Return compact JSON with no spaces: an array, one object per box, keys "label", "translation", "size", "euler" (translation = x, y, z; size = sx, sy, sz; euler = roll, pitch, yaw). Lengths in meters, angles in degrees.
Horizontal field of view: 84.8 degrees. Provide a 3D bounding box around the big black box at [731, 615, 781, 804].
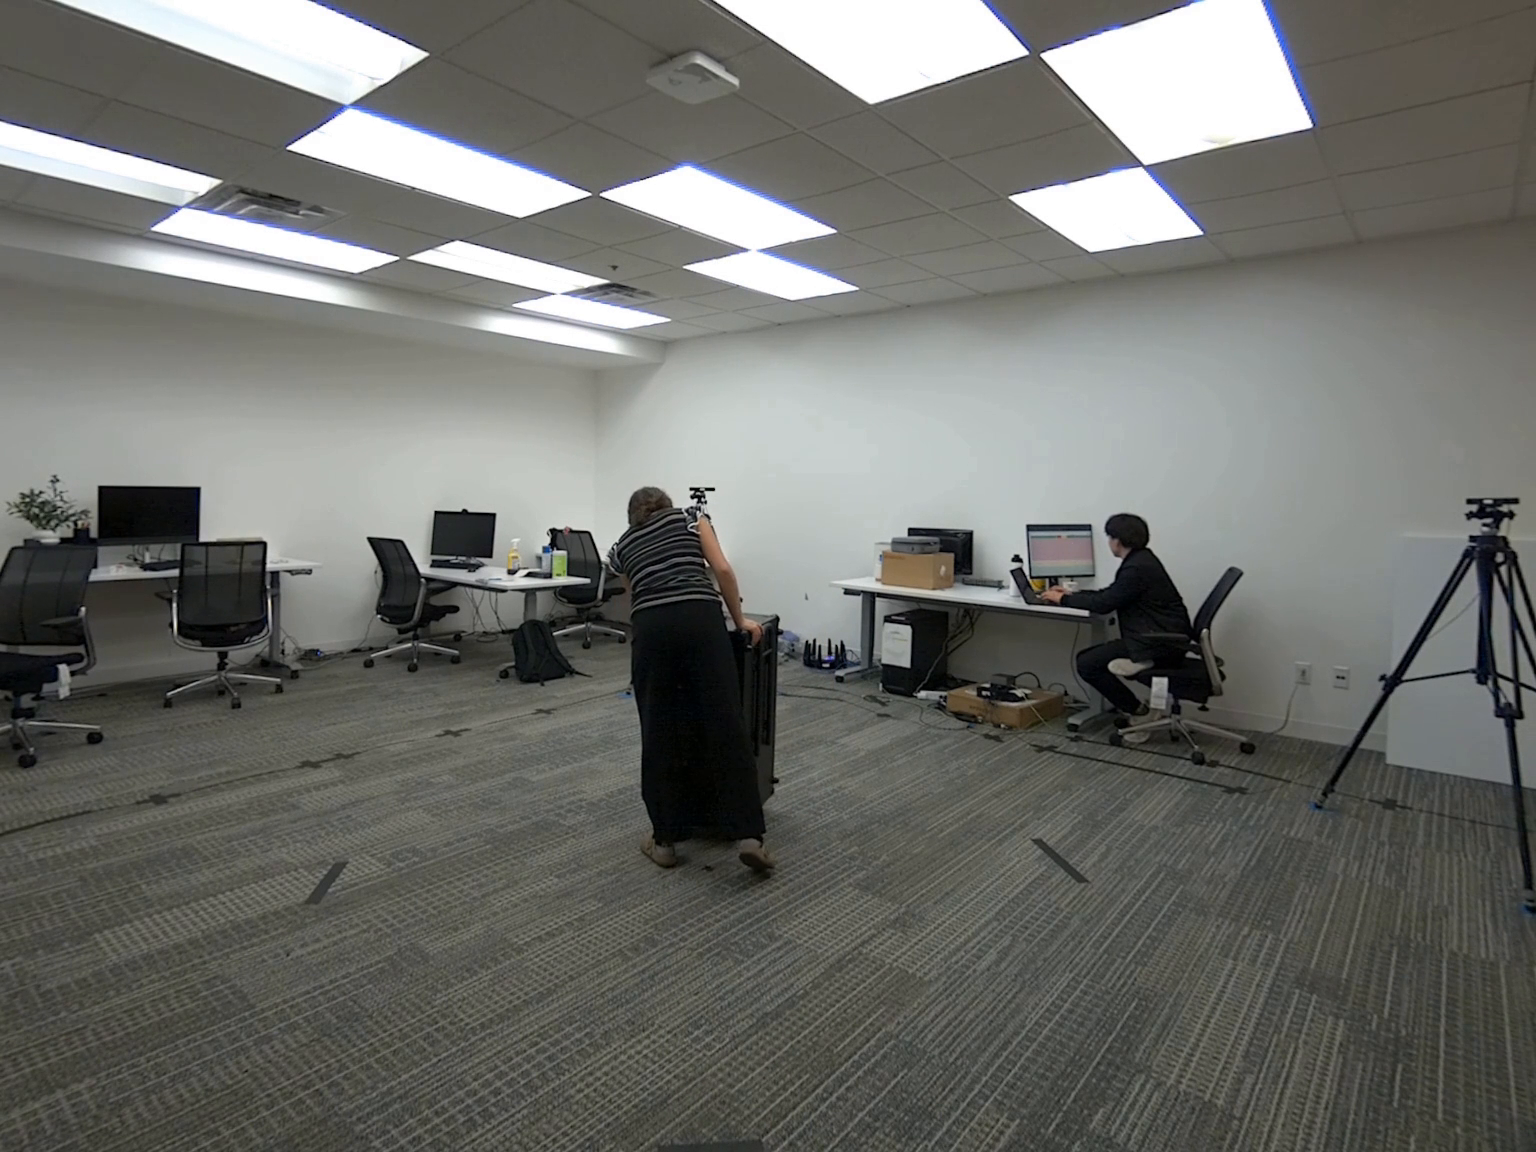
[{"label":"big black box","translation":[-0.198,0.603,3.526],"size":[0.404,0.859,0.513],"euler":[3,4,17]}]
